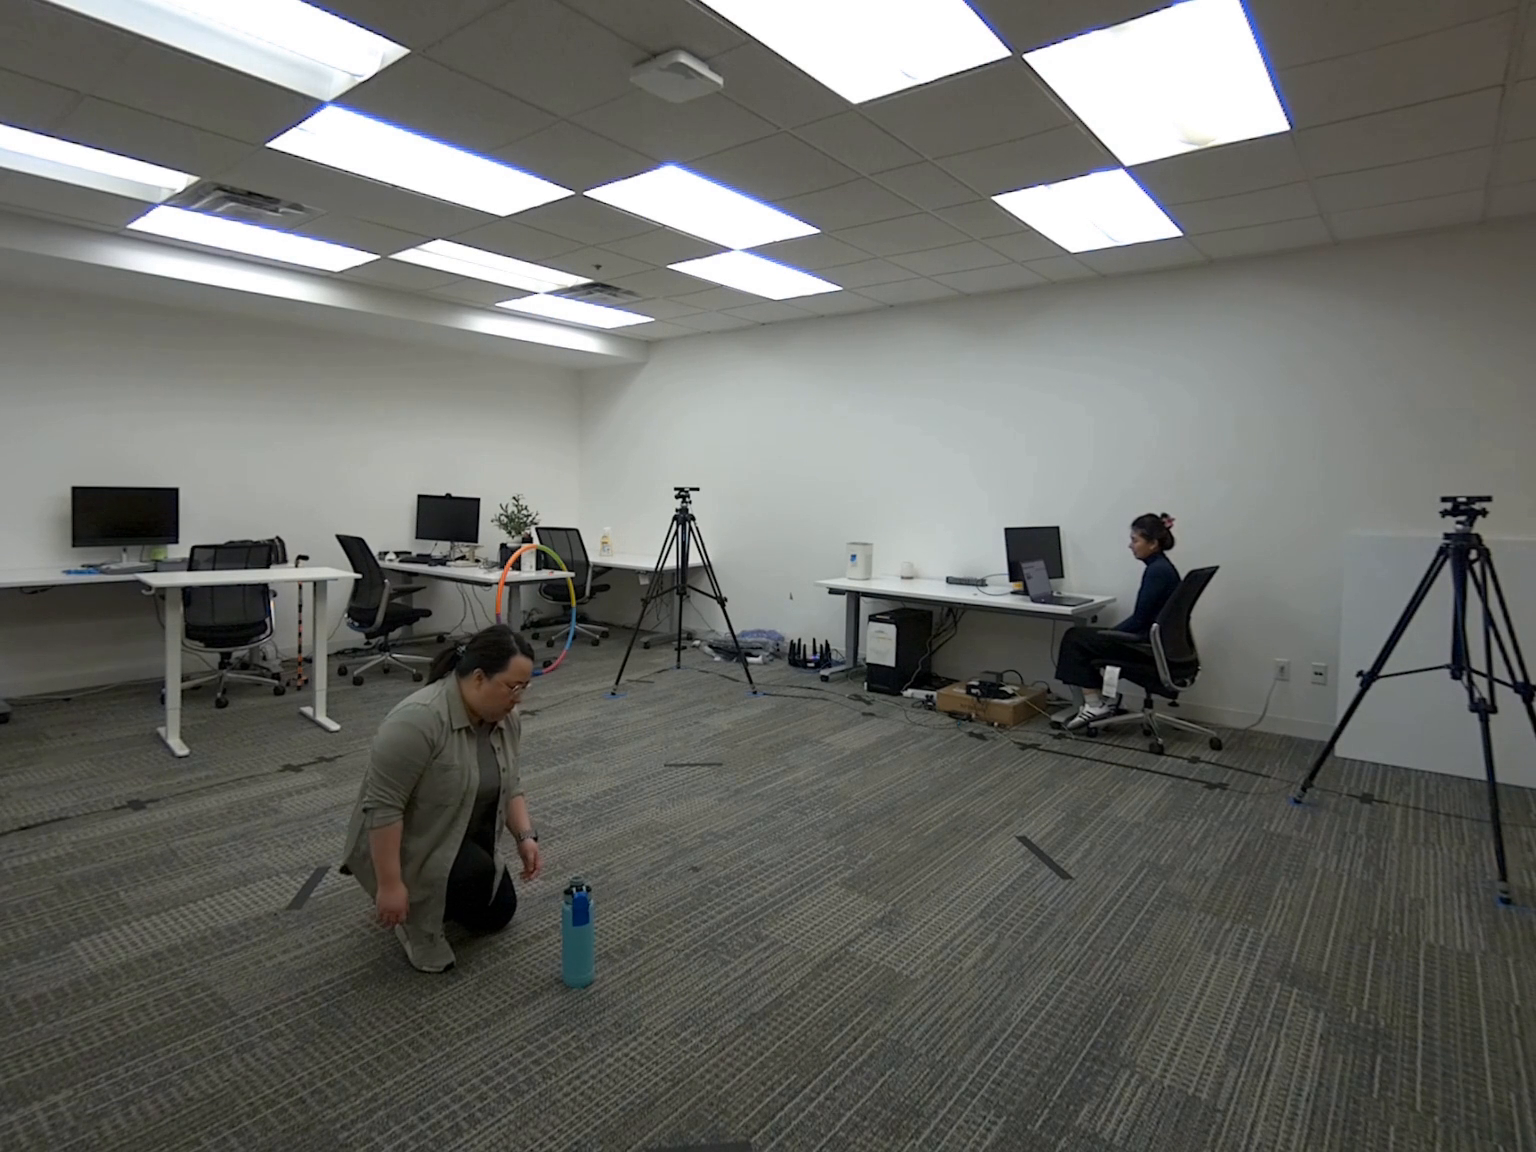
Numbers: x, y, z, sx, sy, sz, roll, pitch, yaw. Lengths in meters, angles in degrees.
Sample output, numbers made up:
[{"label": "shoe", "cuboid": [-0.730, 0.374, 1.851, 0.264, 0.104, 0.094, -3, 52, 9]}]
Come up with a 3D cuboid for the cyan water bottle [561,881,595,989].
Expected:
[{"label": "cyan water bottle", "cuboid": [-0.547, 1.000, 2.379, 0.092, 0.282, 0.093, -3, 3, -2]}]
